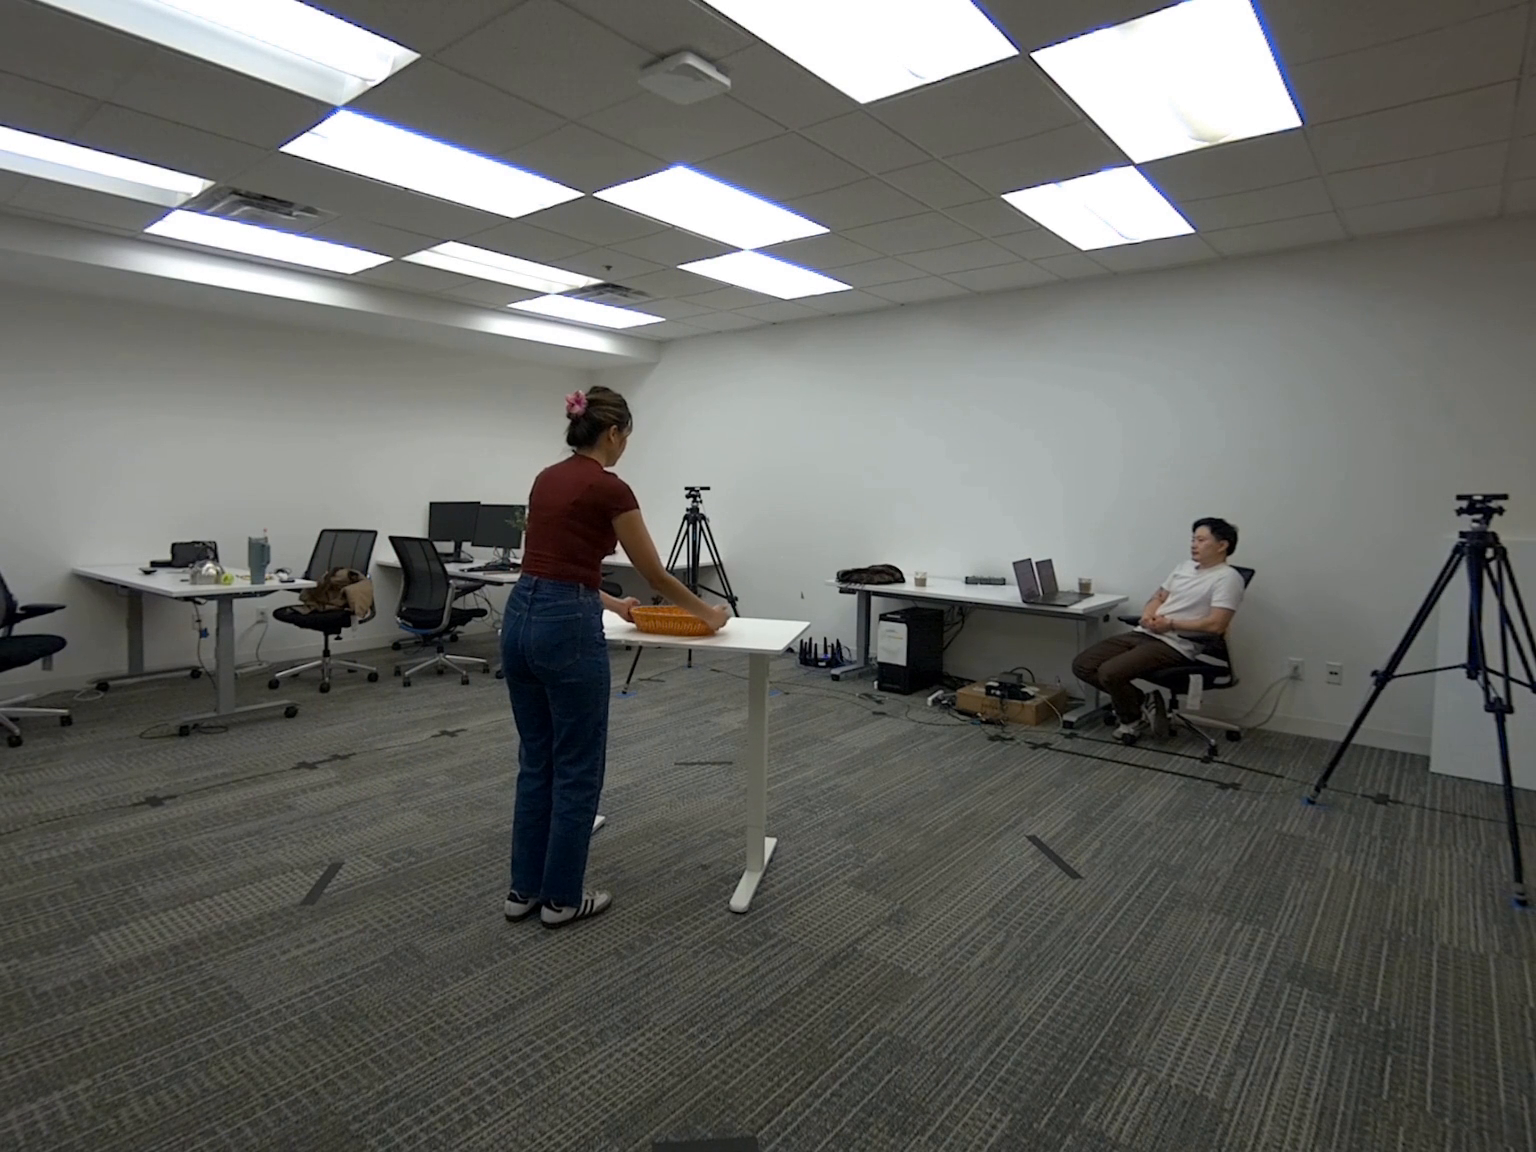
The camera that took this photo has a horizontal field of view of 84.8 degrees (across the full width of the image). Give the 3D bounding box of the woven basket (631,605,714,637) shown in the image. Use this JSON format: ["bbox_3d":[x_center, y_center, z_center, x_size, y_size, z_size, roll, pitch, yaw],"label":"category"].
[{"bbox_3d":[-0.338,0.159,3.006,0.358,0.073,0.248,3,4,20],"label":"woven basket"}]
